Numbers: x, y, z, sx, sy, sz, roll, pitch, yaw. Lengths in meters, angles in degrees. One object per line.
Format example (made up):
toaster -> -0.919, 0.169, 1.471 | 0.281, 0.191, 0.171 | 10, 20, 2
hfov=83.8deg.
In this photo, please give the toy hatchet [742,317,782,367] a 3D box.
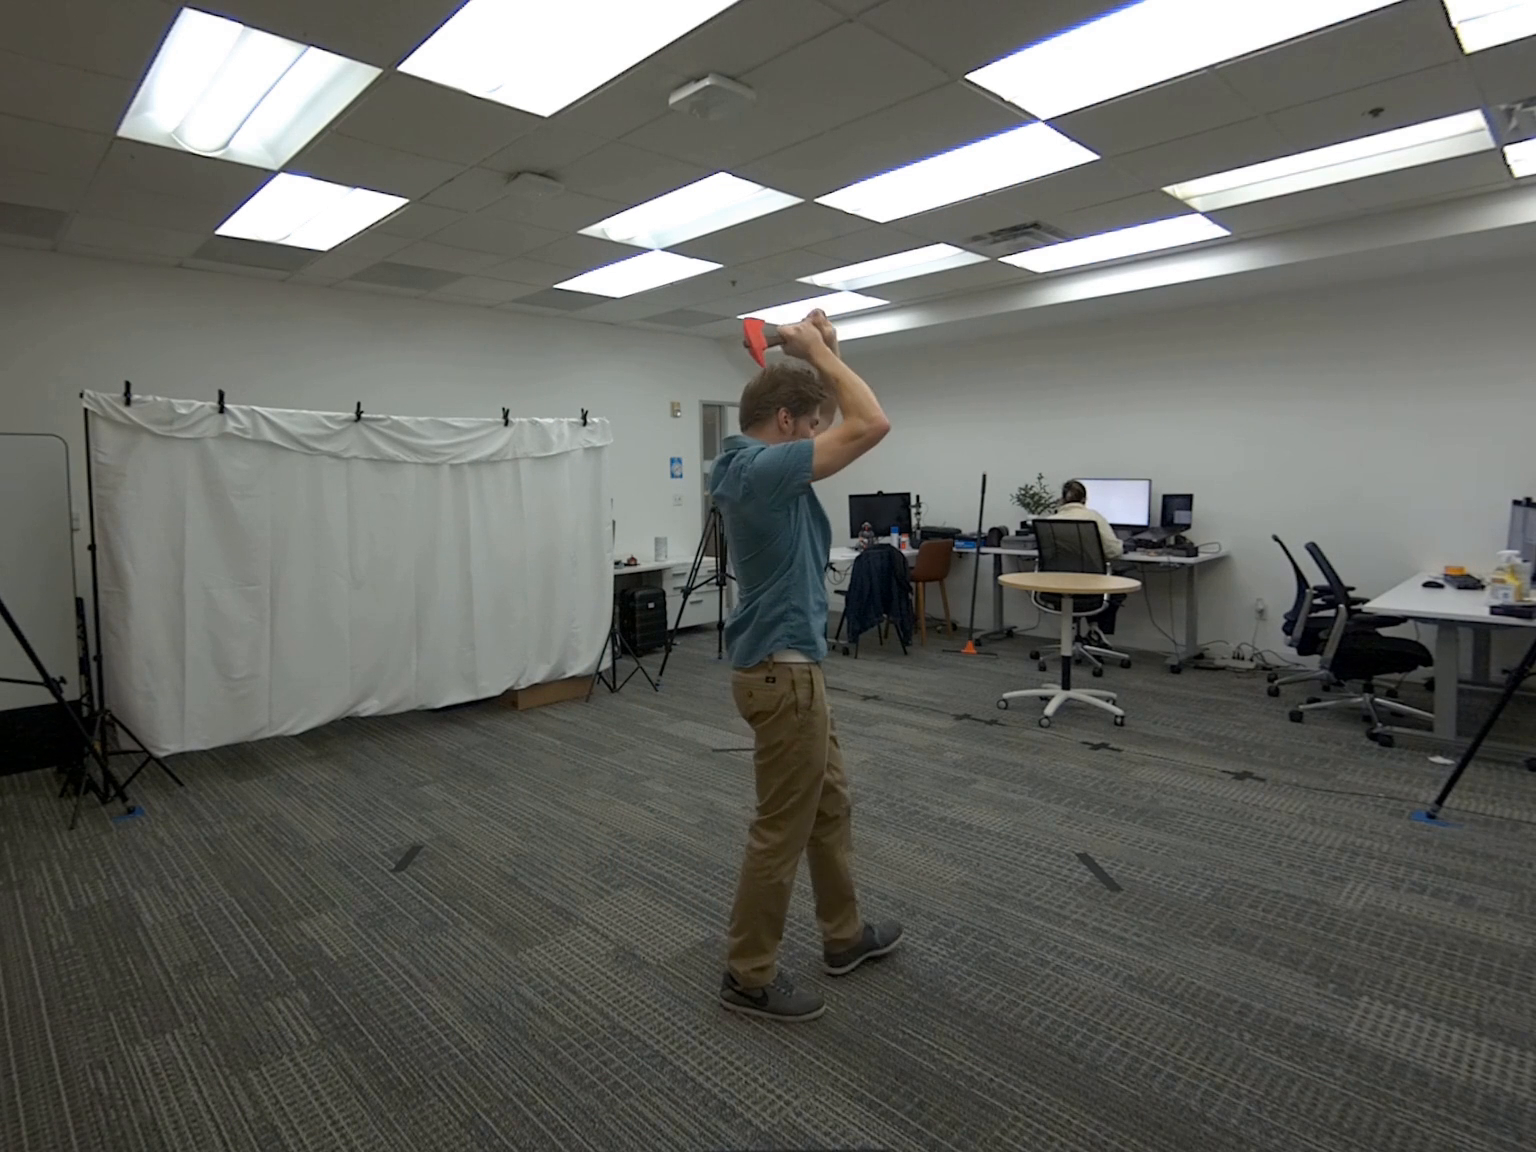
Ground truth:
toy hatchet -> 0.041, -0.628, 2.133 | 0.269, 0.131, 0.030 | -39, 2, -27
